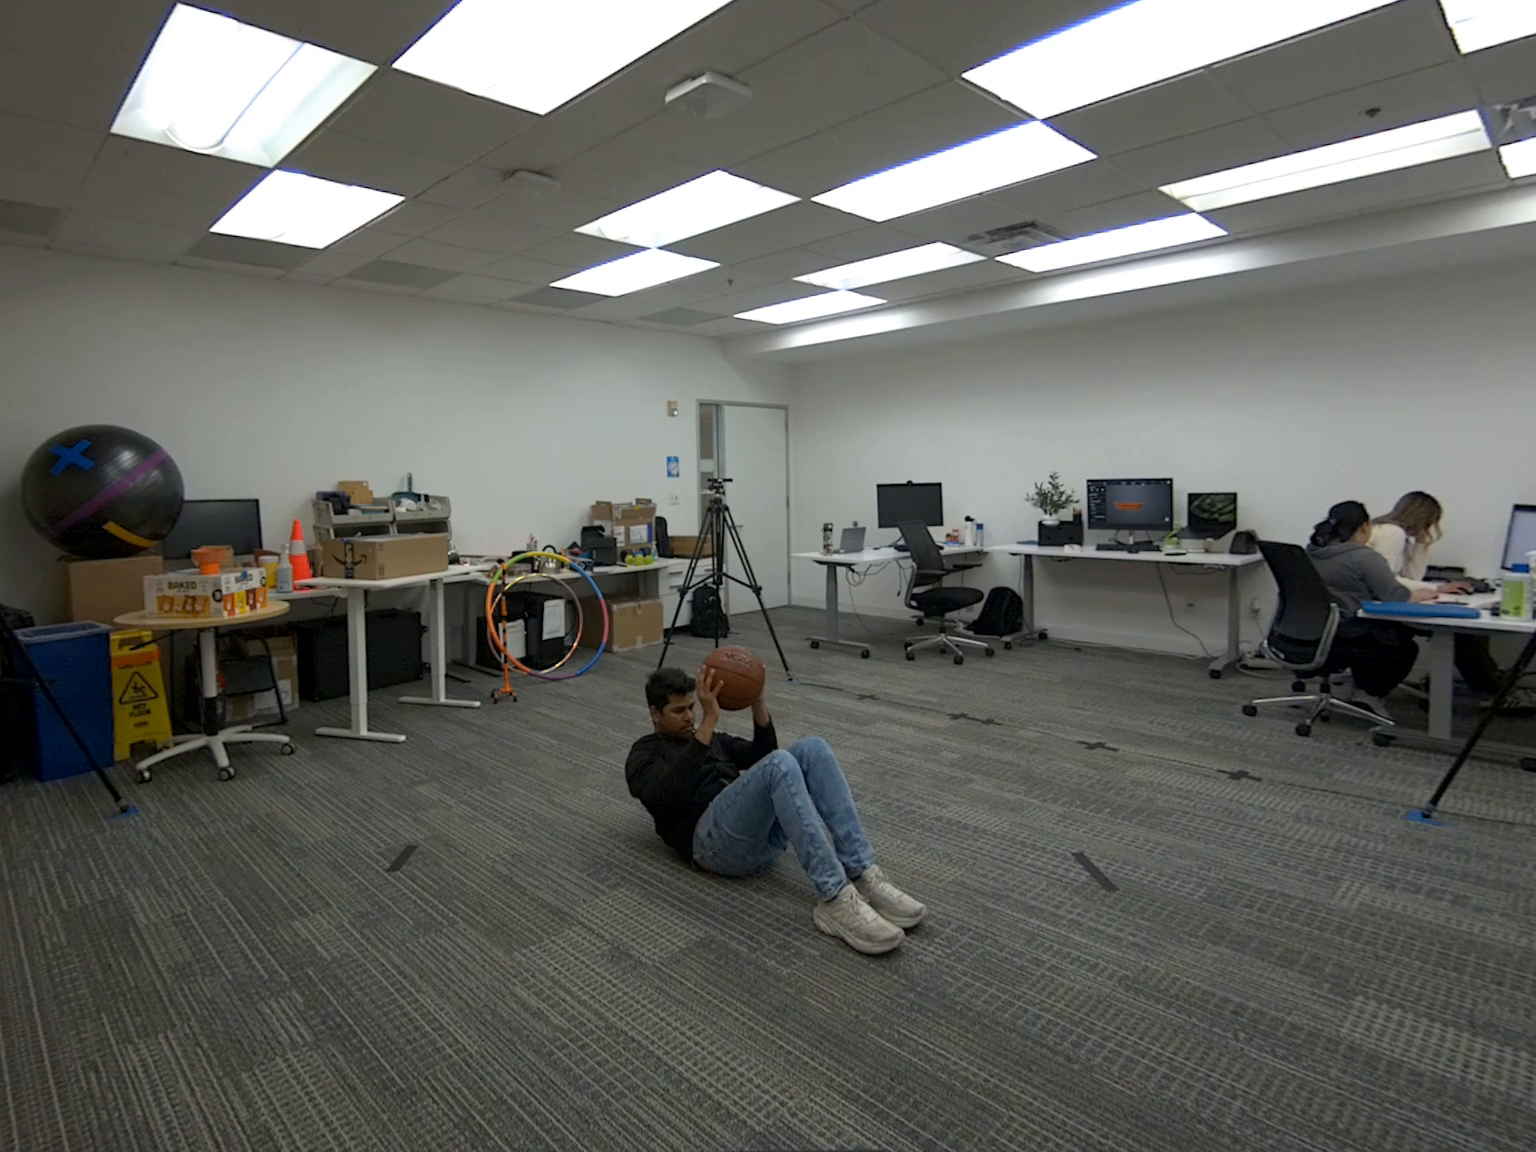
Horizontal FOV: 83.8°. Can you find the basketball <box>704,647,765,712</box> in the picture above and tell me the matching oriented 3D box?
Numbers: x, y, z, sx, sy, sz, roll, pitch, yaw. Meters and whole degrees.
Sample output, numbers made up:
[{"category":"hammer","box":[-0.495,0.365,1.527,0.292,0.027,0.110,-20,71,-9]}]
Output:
[{"category":"basketball","box":[-0.135,0.372,3.120,0.236,0.235,0.237,-1,5,-2]}]
